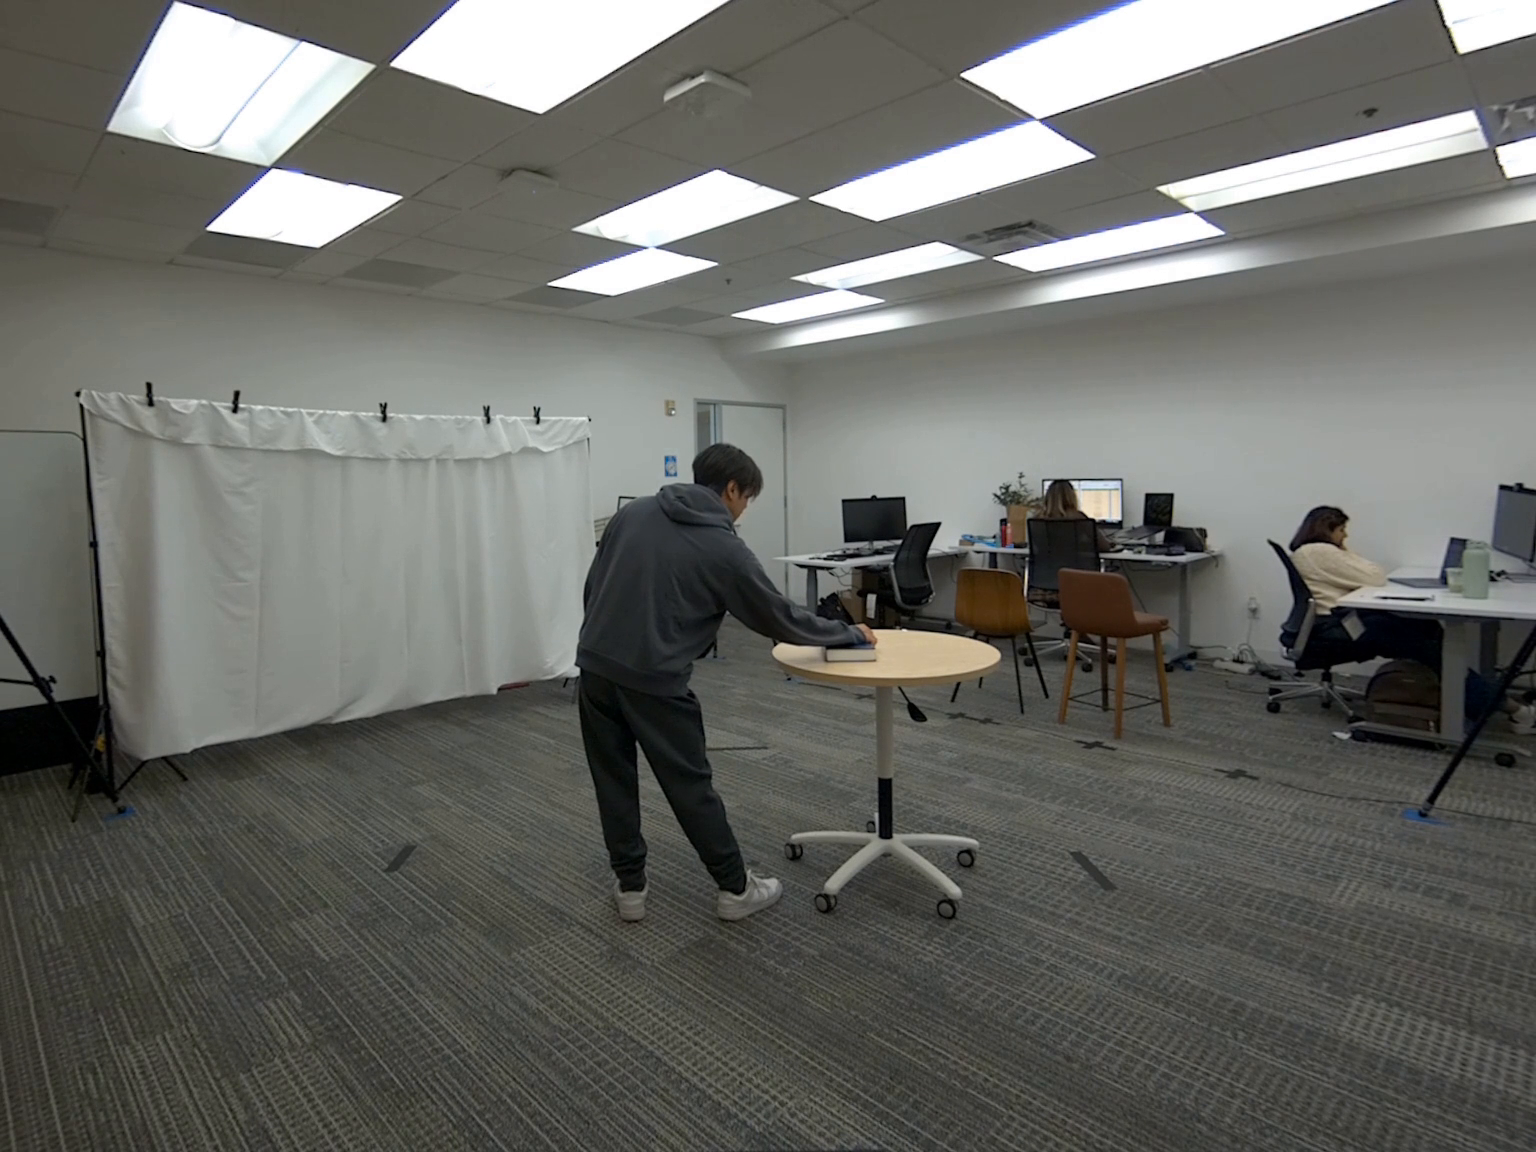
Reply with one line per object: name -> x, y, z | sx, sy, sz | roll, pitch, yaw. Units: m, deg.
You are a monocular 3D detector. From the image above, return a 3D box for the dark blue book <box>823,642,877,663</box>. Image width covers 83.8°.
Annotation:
dark blue book -> 0.275, 0.242, 2.910 | 0.163, 0.045, 0.247 | -3, 9, -1
